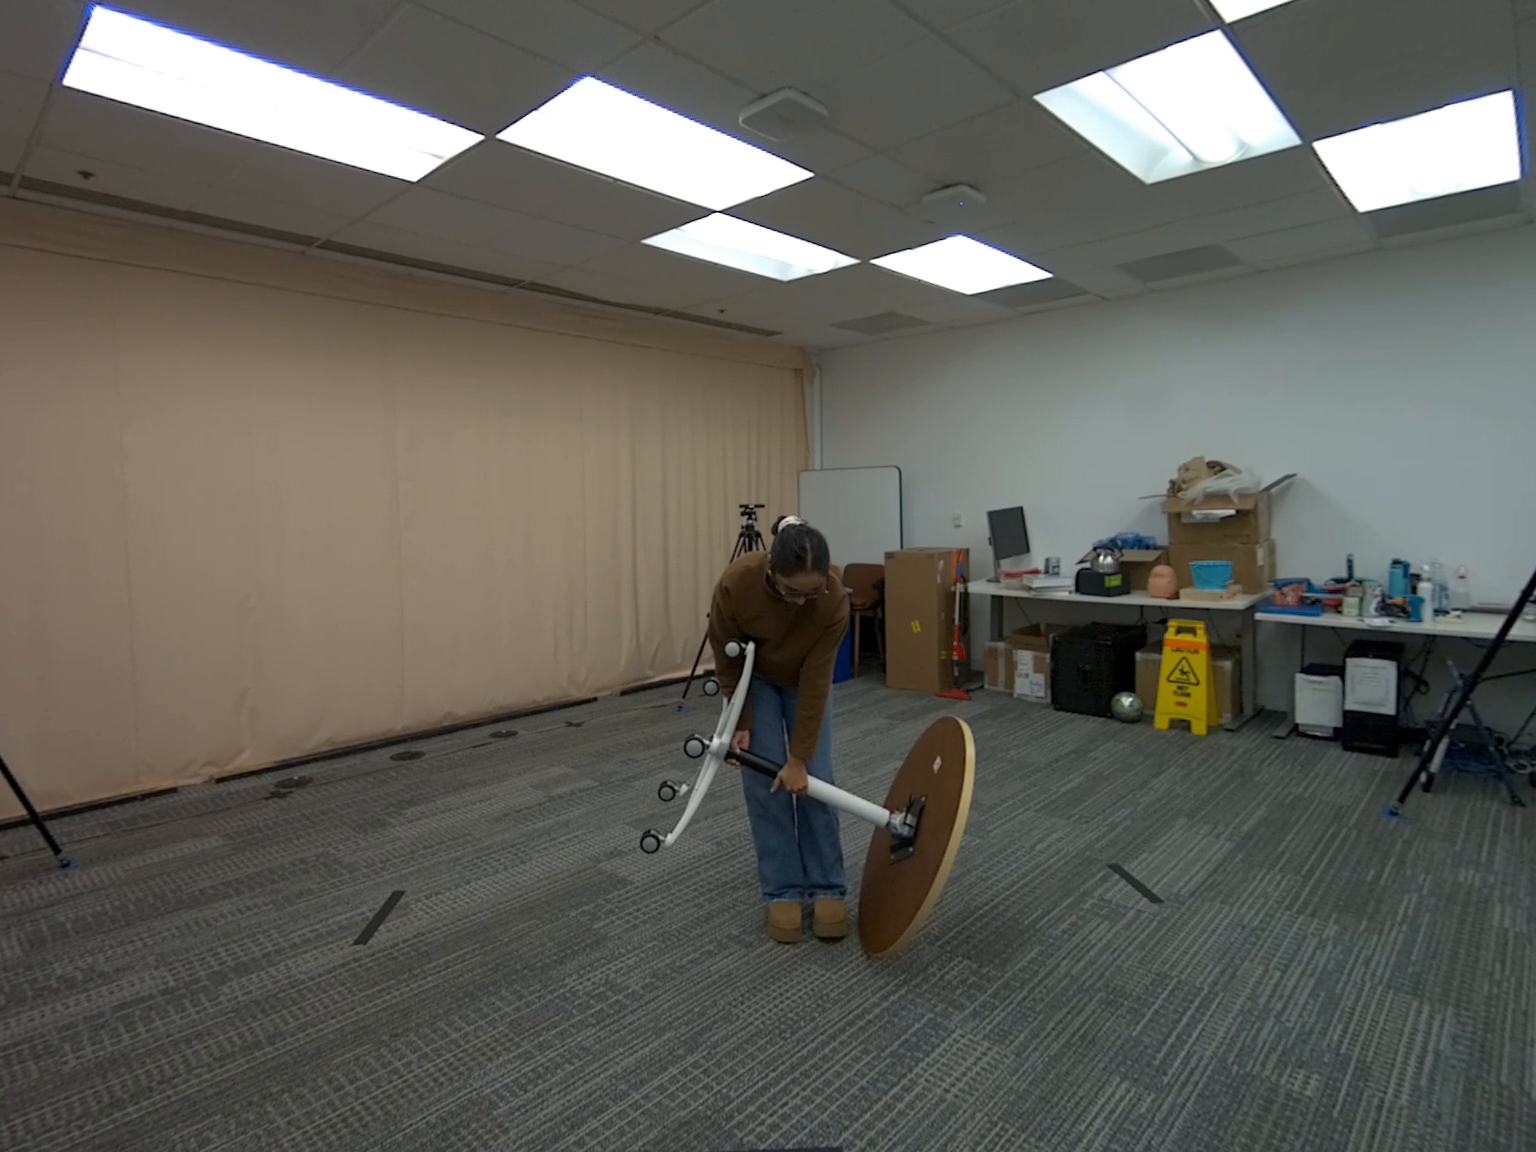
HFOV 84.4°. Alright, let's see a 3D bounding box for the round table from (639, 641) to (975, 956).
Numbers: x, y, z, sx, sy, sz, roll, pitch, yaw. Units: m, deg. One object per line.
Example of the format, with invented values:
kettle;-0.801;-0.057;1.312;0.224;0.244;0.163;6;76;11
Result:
round table;0.109;0.657;2.655;0.793;0.763;0.765;22;3;-2
